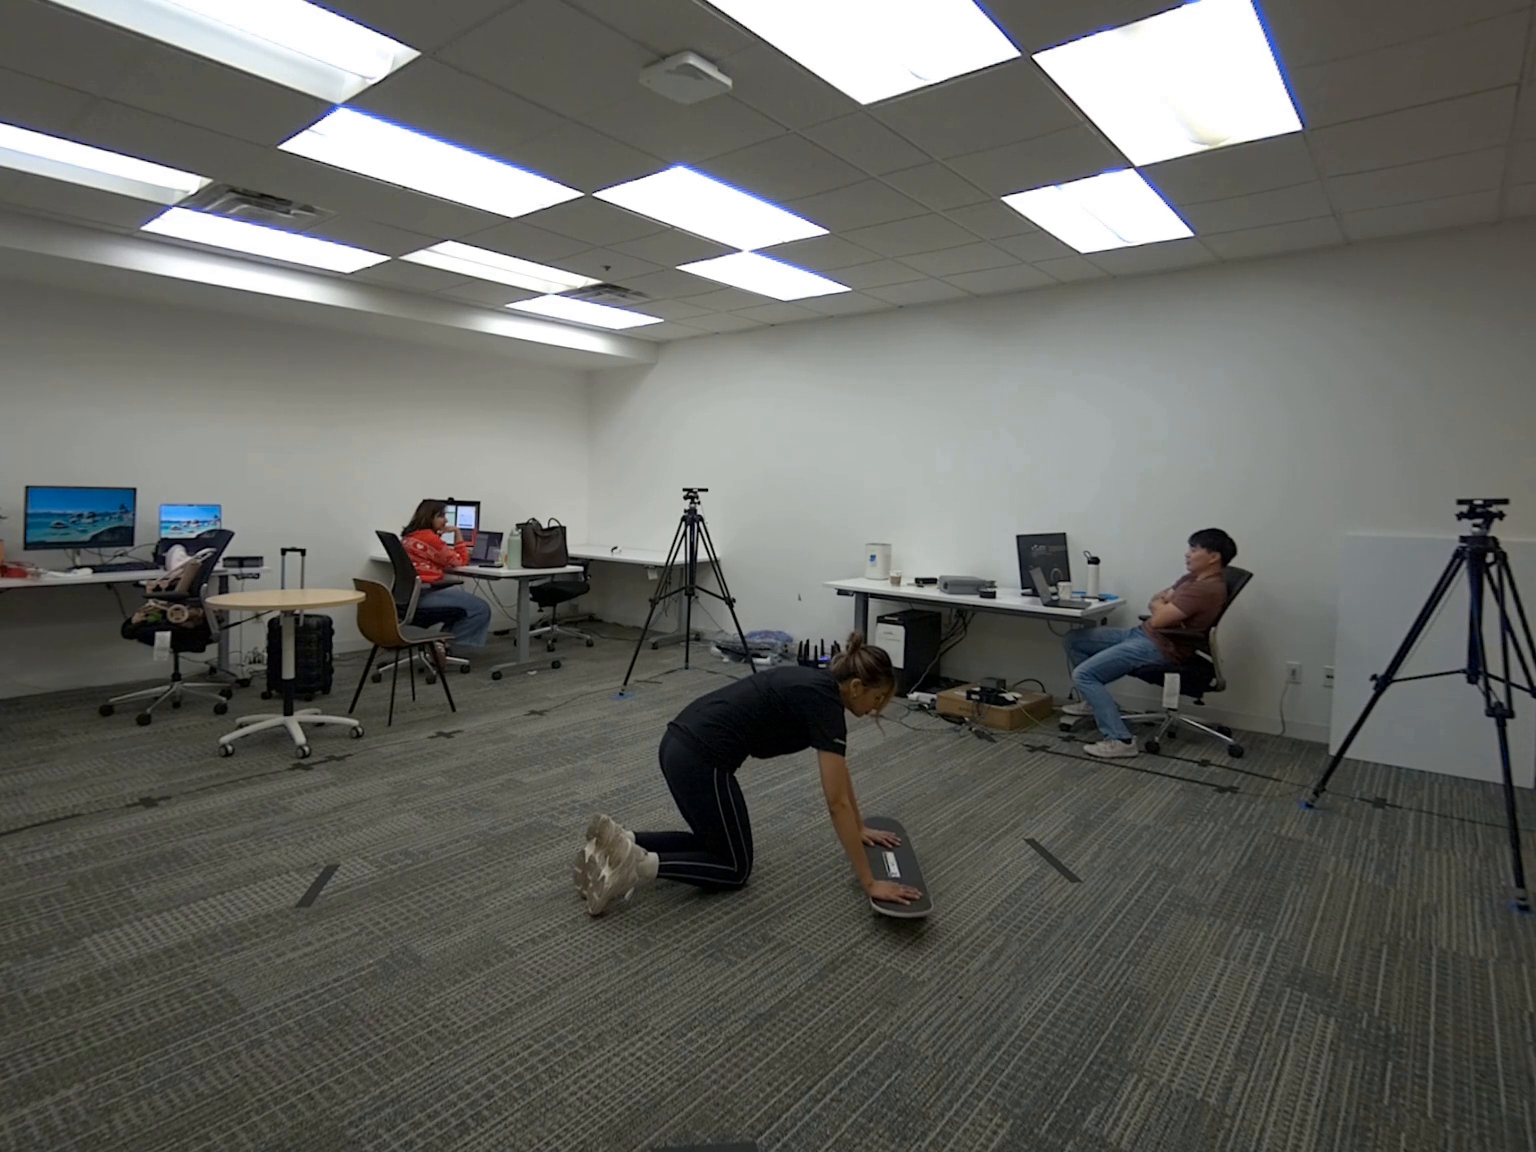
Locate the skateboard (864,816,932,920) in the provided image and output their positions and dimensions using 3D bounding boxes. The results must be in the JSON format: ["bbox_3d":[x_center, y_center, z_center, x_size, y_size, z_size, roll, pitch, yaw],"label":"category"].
[{"bbox_3d":[0.420,1.033,2.979,0.194,0.110,0.786,0,5,1],"label":"skateboard"}]
